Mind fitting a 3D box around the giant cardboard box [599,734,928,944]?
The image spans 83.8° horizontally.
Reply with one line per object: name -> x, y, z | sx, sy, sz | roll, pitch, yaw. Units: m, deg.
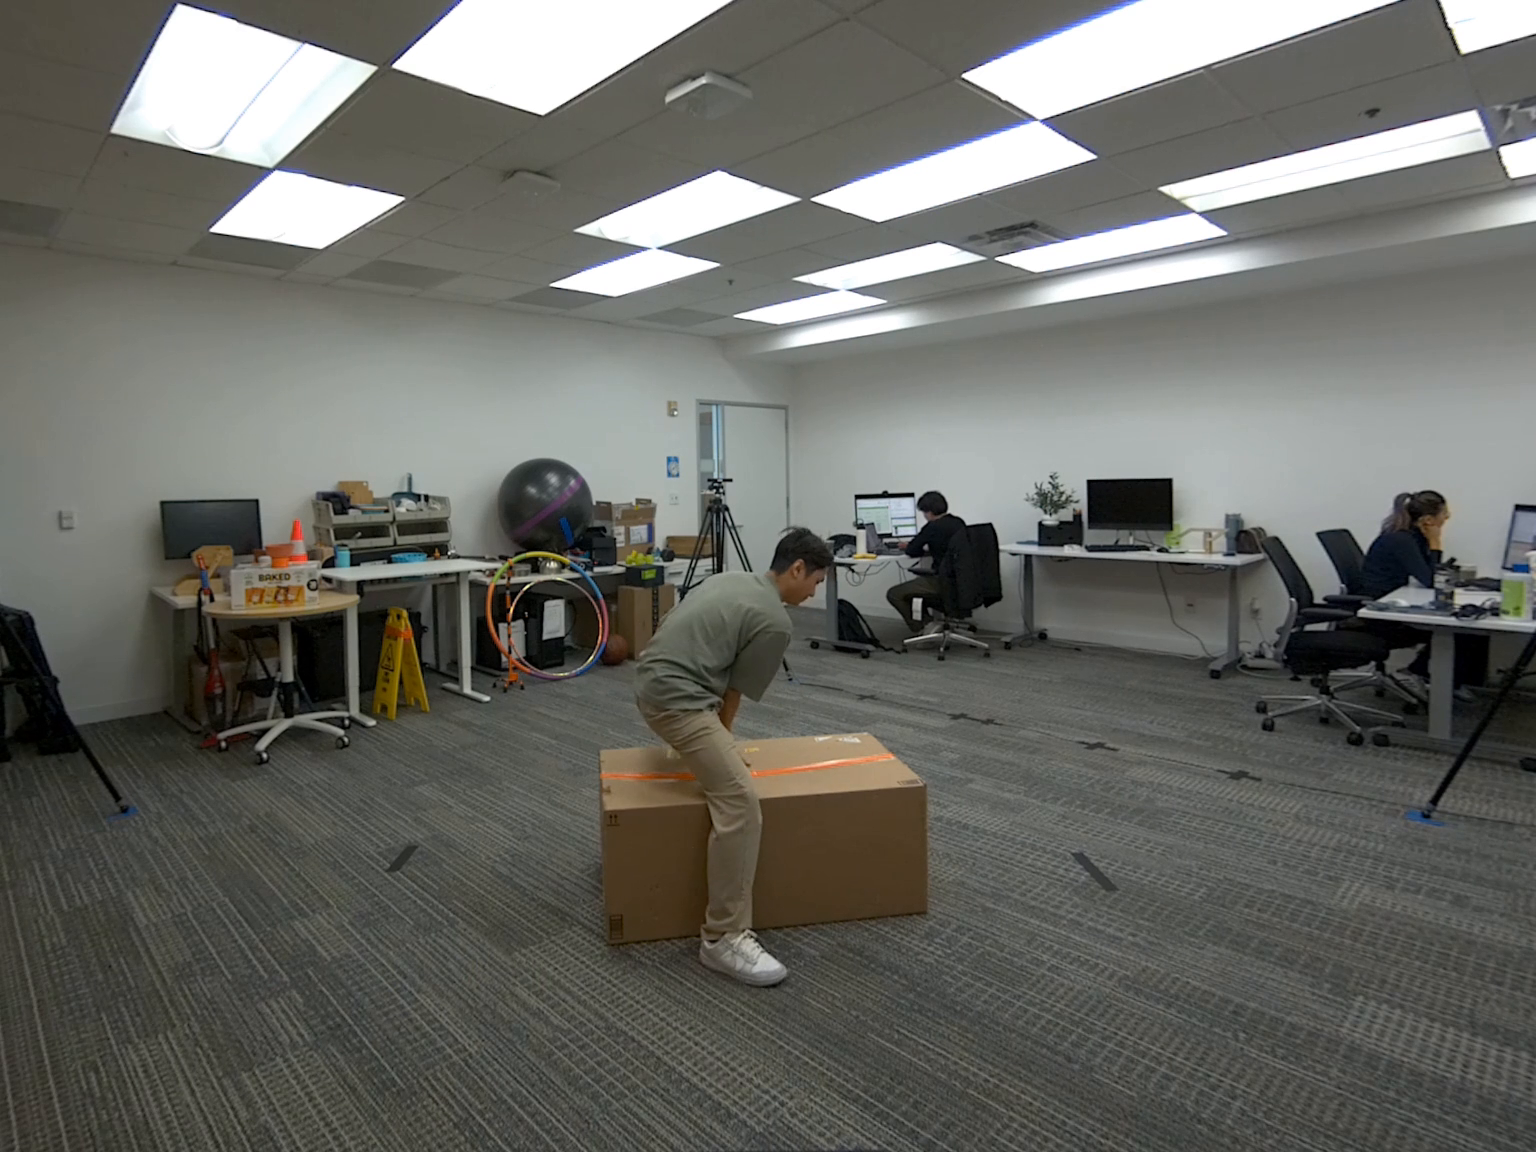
giant cardboard box -> -0.050, 0.857, 2.917 | 1.017, 0.424, 0.585 | -2, 5, -9
